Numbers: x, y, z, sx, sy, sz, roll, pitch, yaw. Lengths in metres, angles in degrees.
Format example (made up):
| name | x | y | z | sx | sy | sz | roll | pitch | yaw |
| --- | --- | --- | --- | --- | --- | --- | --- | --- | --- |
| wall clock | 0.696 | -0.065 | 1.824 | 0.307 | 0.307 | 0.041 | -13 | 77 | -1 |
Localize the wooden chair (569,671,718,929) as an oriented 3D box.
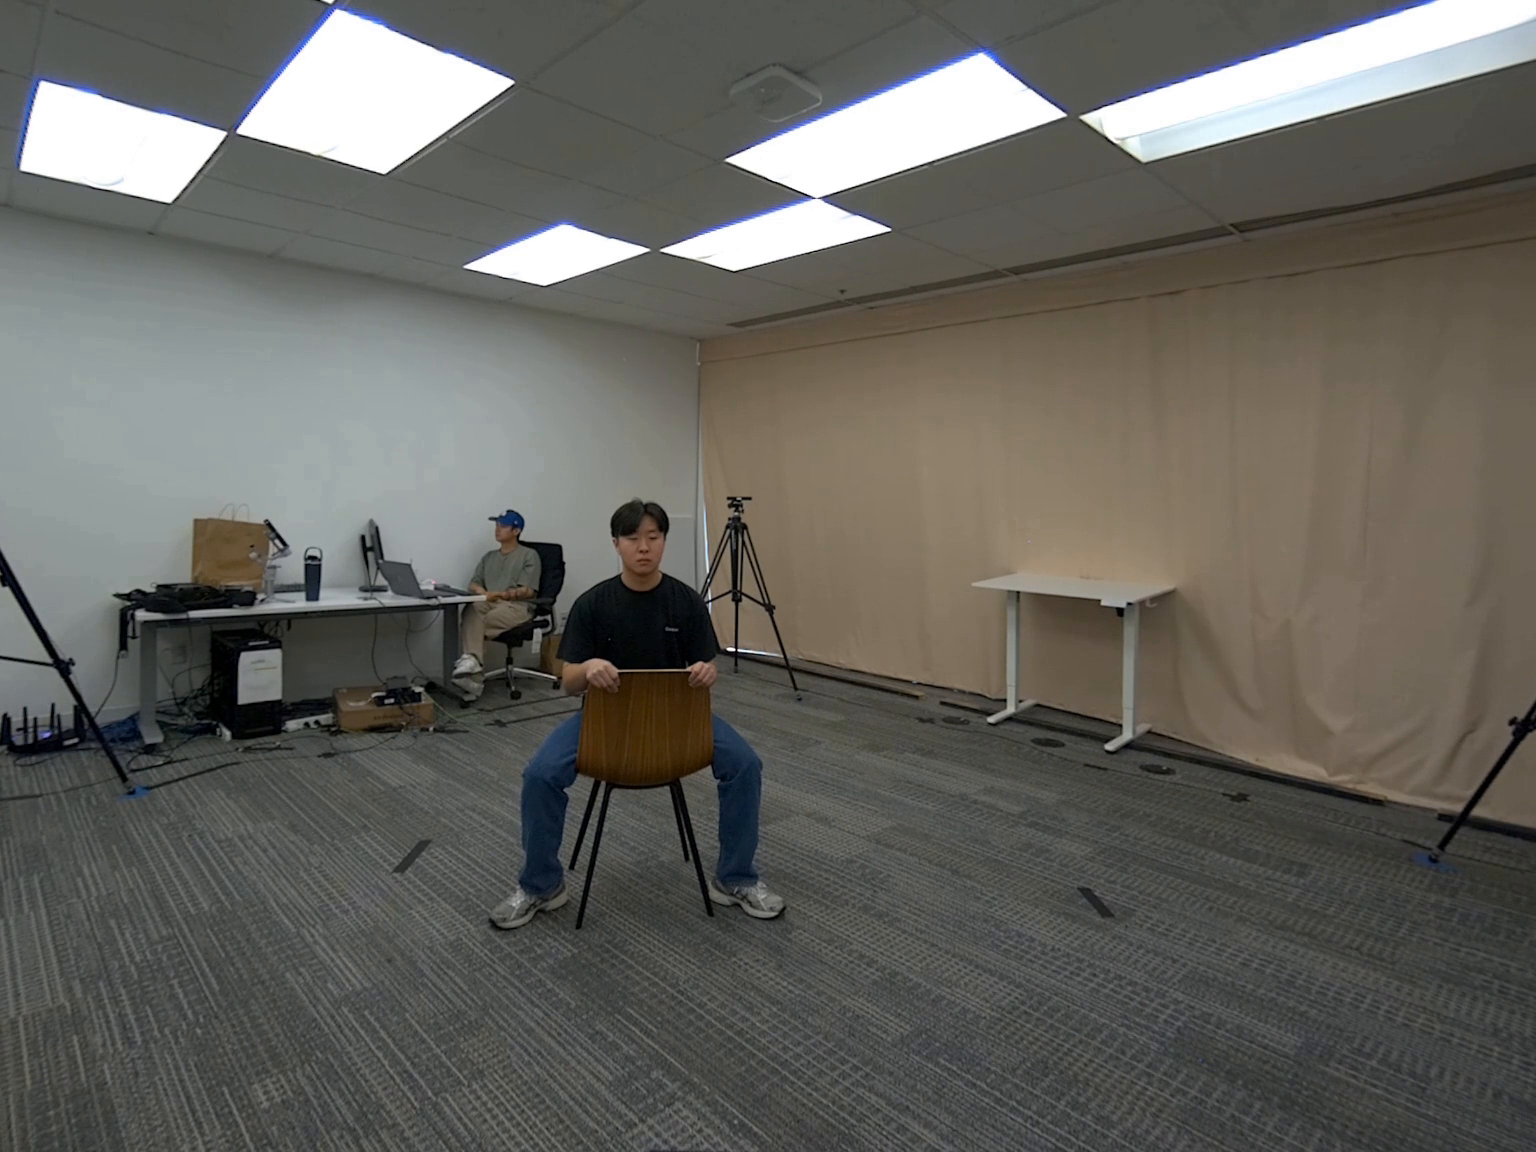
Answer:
| name | x | y | z | sx | sy | sz | roll | pitch | yaw |
| --- | --- | --- | --- | --- | --- | --- | --- | --- | --- |
| wooden chair | -0.451 | 0.688 | 2.943 | 0.473 | 0.873 | 0.532 | 0 | 7 | -15 |
